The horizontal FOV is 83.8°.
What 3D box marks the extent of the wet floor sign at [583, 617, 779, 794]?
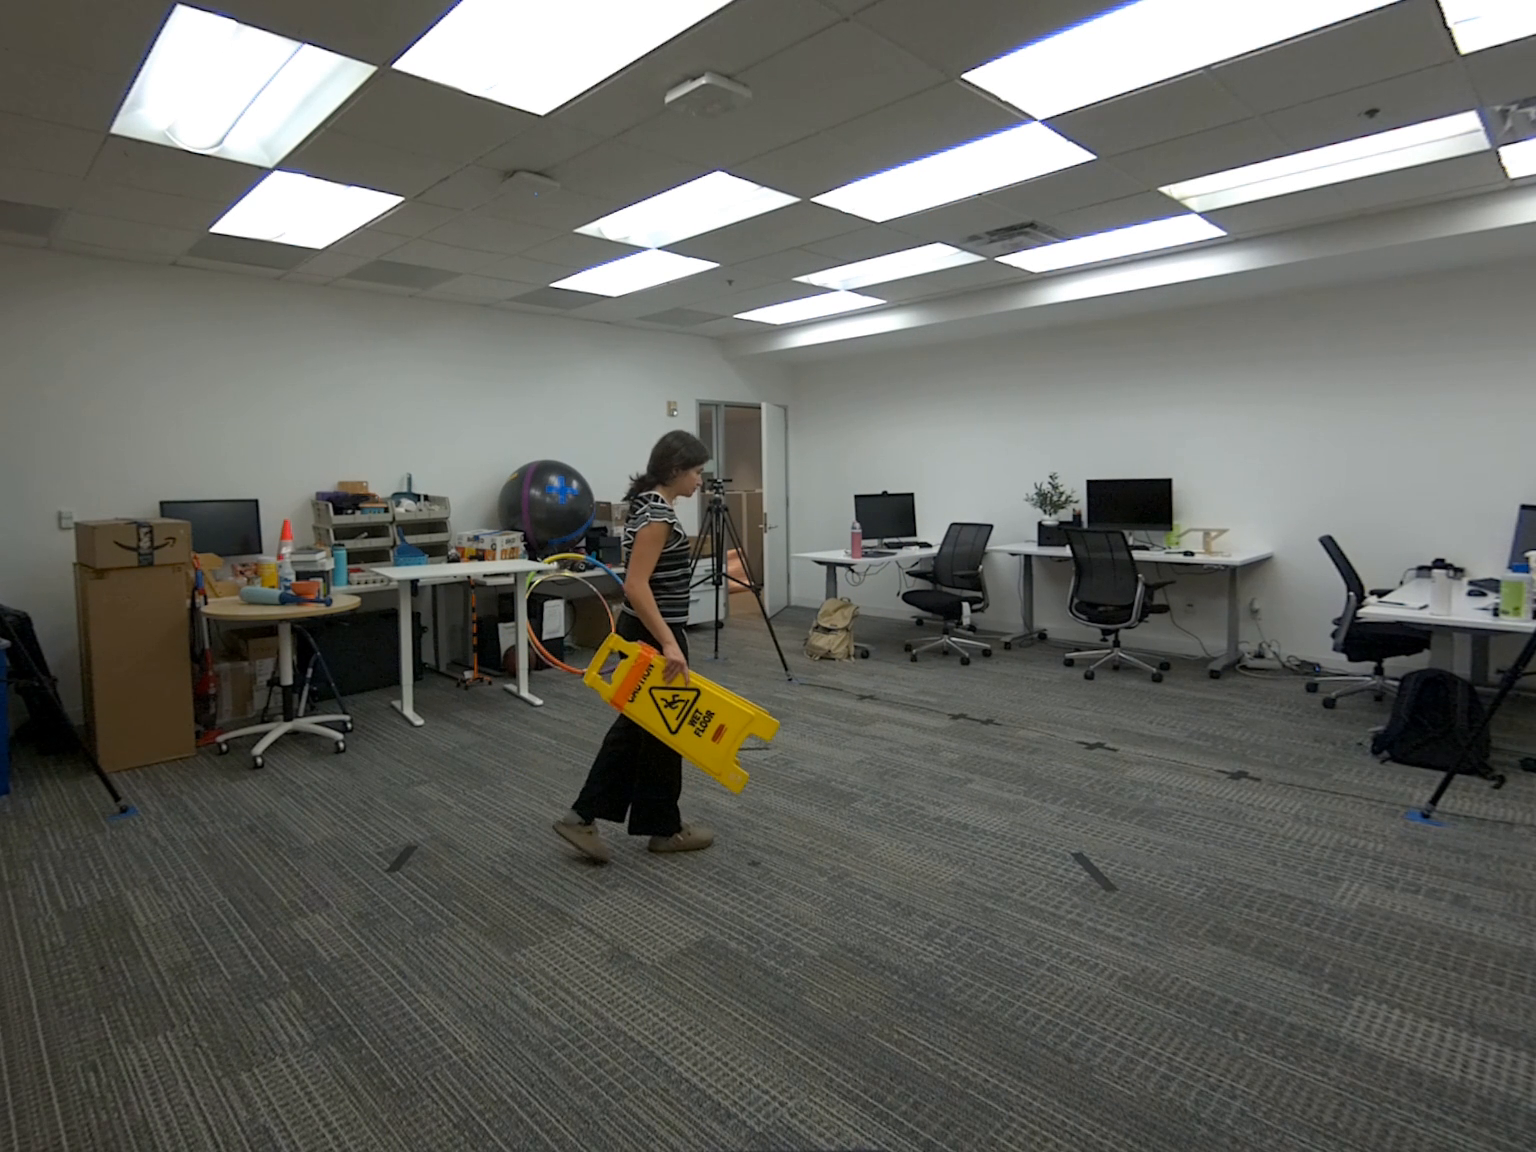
[{"bbox_3d":[-0.321,0.449,2.970,0.642,0.282,0.291,32,-4,-5],"label":"wet floor sign"}]
